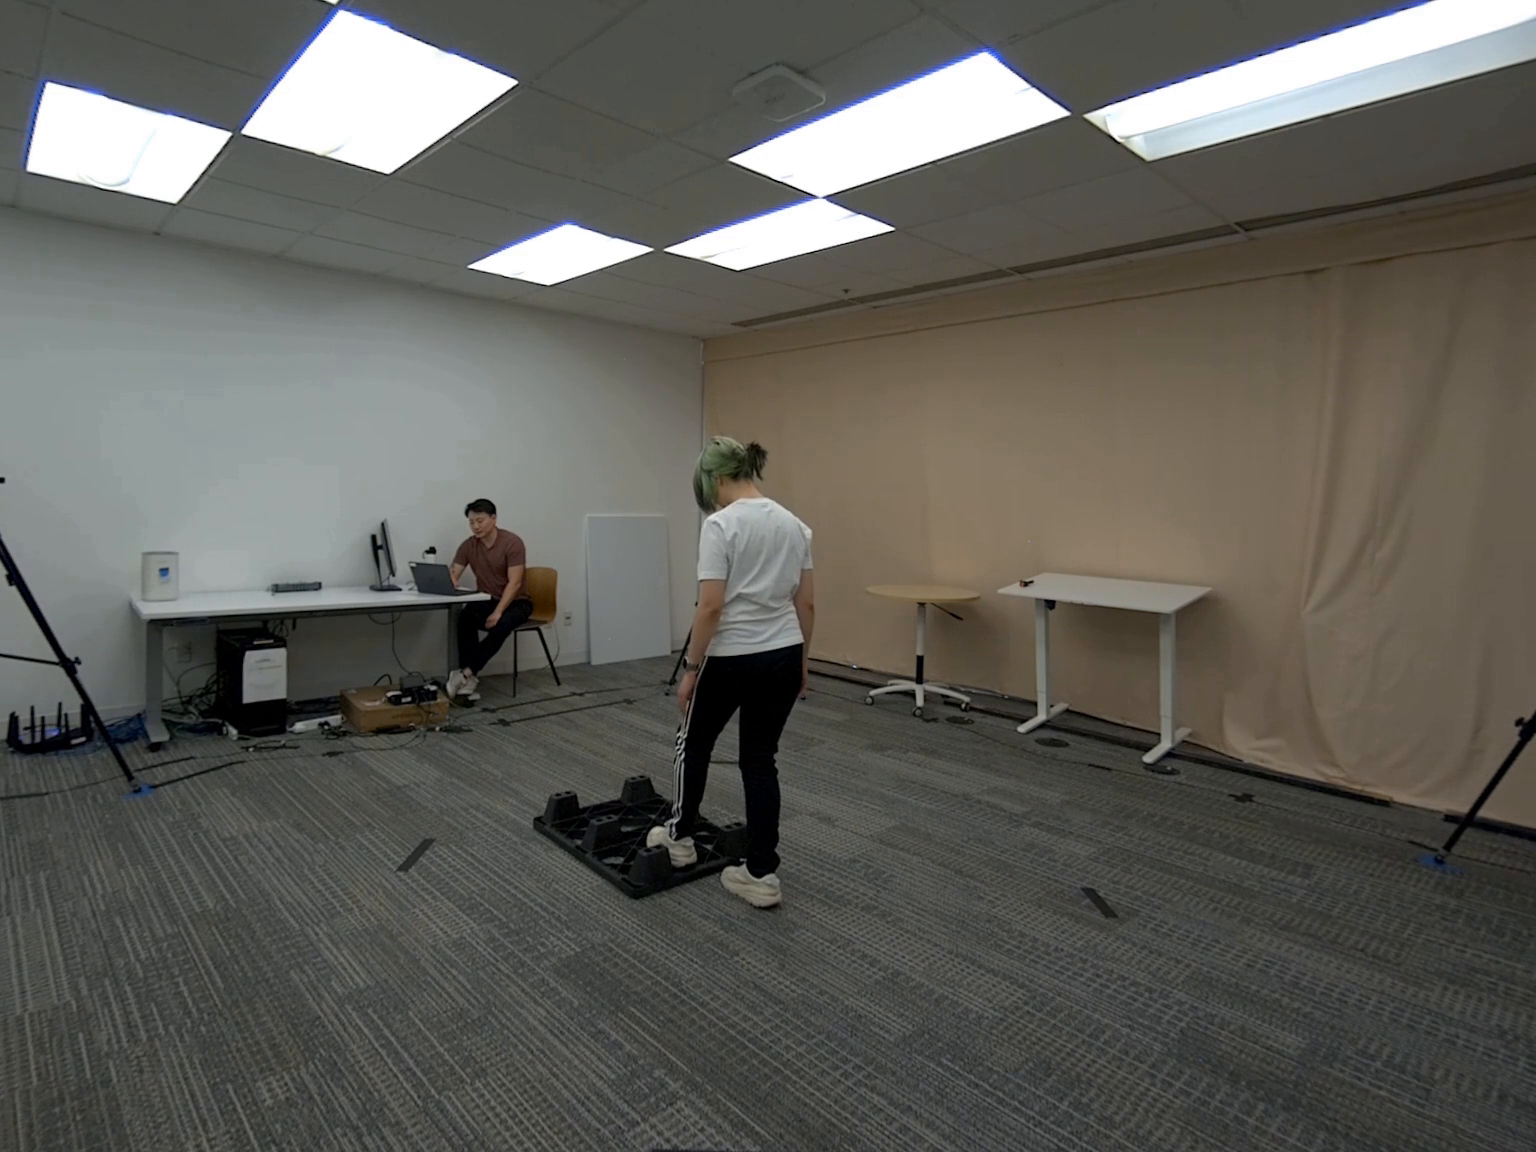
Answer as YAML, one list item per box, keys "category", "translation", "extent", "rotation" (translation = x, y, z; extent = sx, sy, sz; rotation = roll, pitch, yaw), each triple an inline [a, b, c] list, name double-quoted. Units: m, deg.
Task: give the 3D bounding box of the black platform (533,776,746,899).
- category: "black platform"
  translation: [-0.497, 1.006, 3.383]
  extent: [0.591, 0.143, 0.826]
  rotation: [-4, 8, -40]
